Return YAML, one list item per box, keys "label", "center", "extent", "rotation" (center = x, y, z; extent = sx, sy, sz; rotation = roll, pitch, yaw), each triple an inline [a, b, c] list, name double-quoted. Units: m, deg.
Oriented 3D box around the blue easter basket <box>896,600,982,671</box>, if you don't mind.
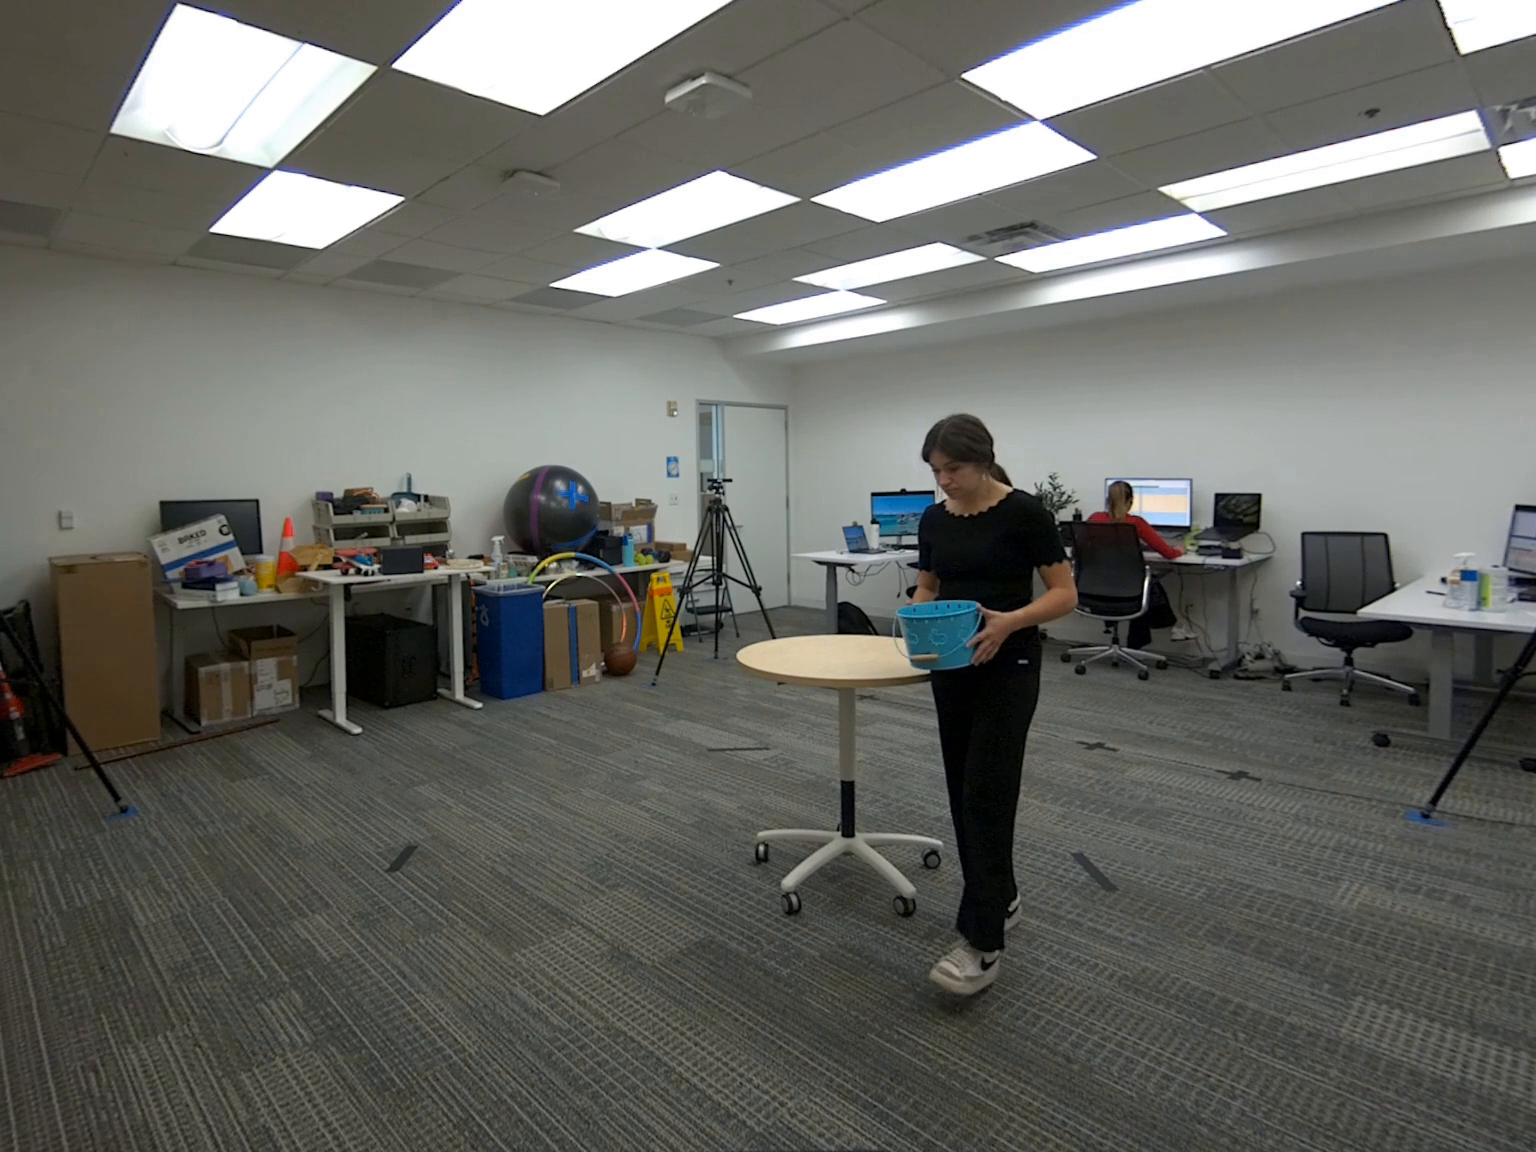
- label: "blue easter basket"
  center: [0.483, 0.166, 2.355]
  extent: [0.243, 0.155, 0.245]
  rotation: [-6, 5, -1]
